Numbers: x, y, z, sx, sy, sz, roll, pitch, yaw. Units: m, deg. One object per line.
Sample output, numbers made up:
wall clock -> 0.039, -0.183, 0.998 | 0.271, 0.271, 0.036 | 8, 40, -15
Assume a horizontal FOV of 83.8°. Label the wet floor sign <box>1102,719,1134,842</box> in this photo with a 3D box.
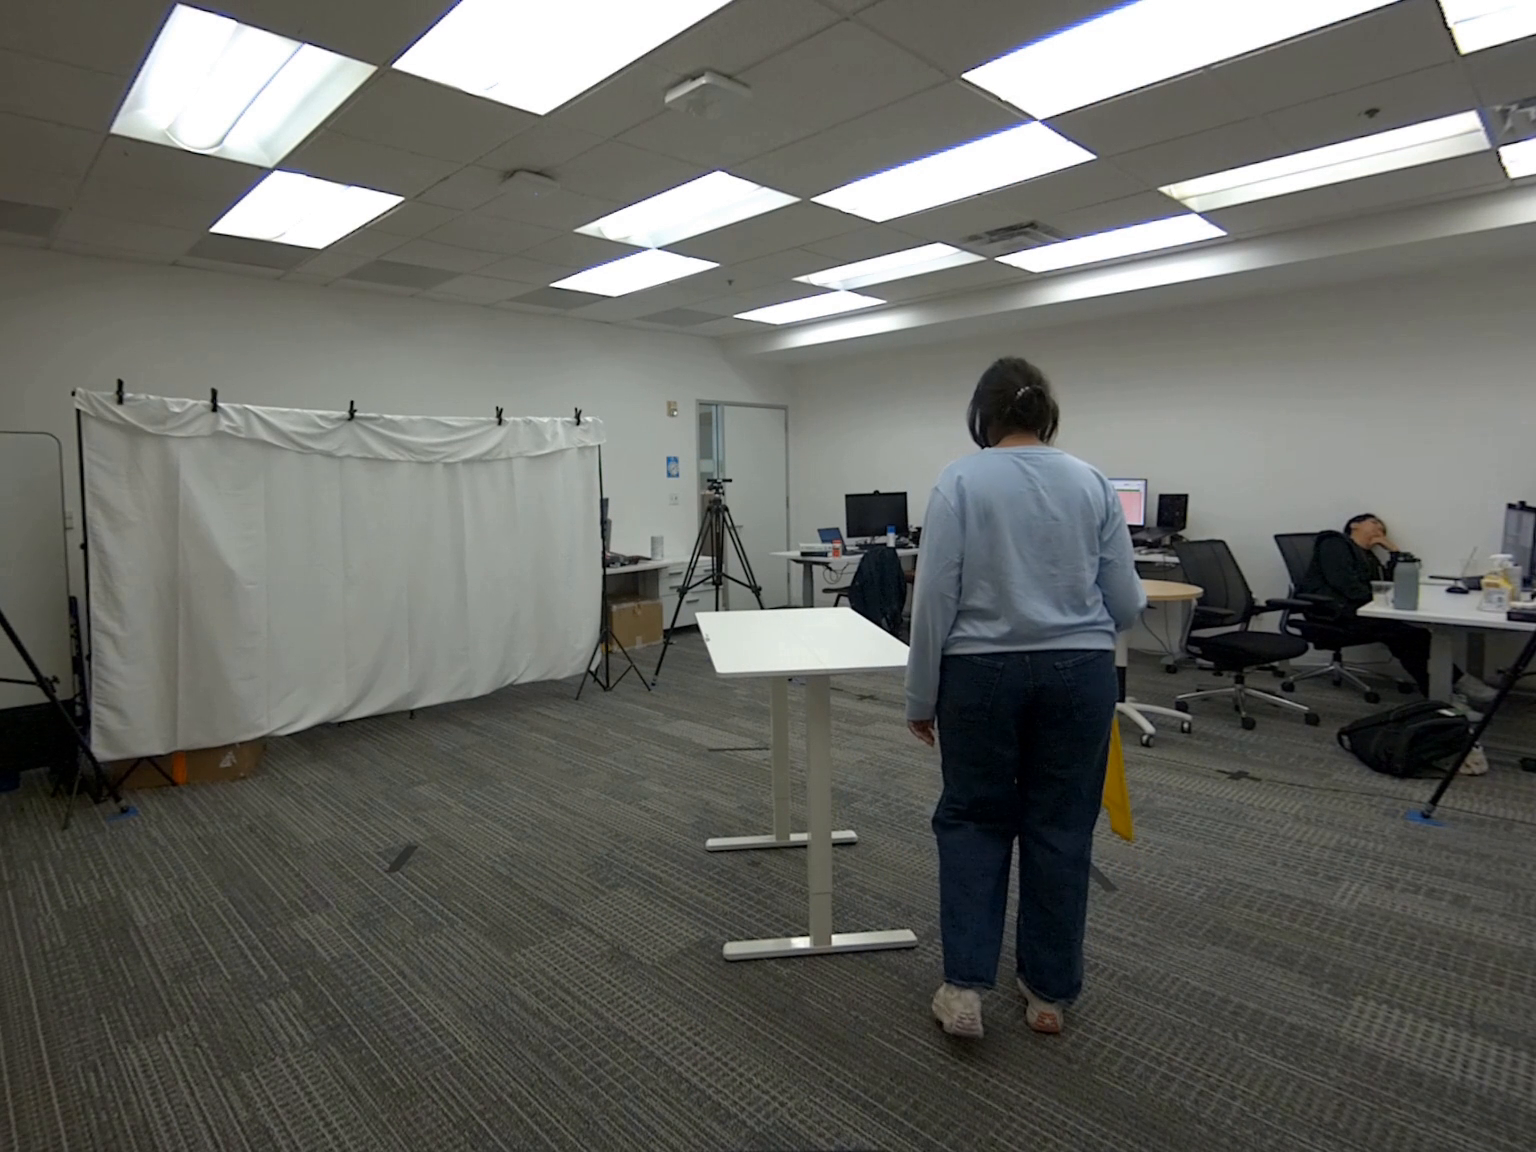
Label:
wet floor sign -> 0.896, 0.434, 2.471 | 0.285, 0.640, 0.289 | -3, 10, -20
